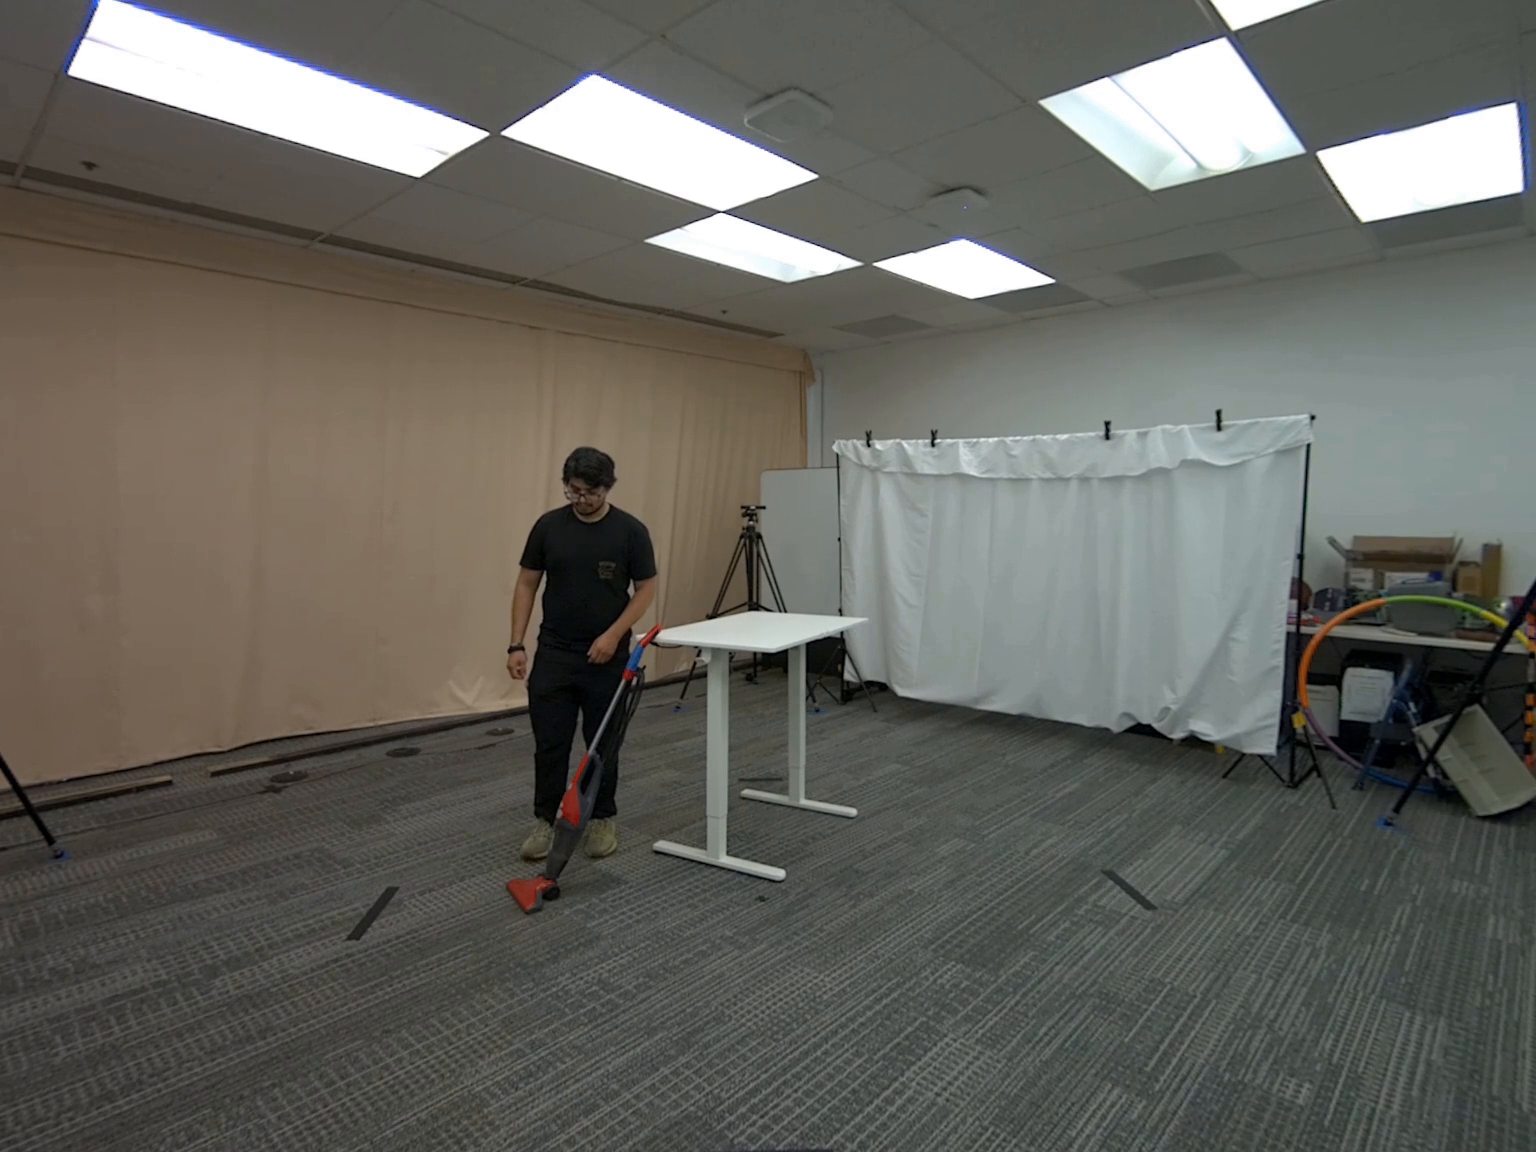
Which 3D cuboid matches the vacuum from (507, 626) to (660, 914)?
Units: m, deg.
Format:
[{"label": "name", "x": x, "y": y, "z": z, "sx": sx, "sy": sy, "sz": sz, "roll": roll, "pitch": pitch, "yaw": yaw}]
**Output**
[{"label": "vacuum", "x": -0.621, "y": 0.667, "z": 3.127, "sx": 0.261, "sy": 1.051, "sz": 0.139, "roll": 10, "pitch": -19, "yaw": 47}]
